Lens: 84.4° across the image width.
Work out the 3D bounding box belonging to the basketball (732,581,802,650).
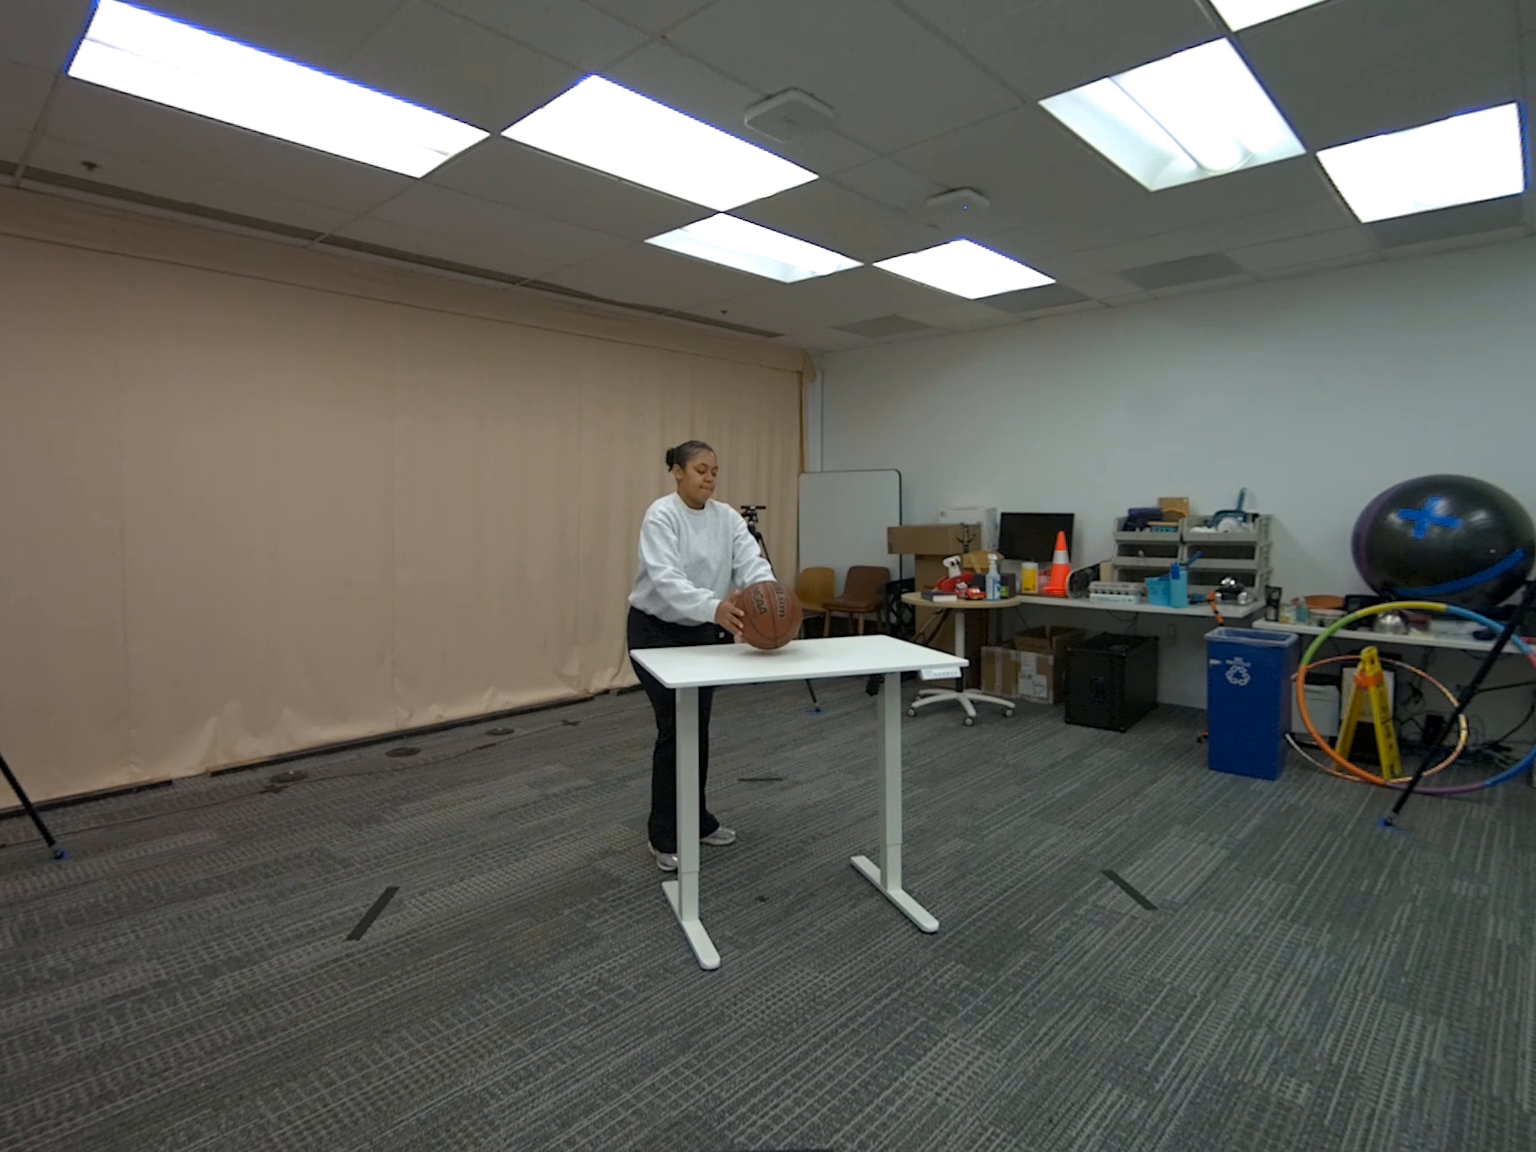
[{"bbox_3d":[-0.005,0.129,2.906,0.236,0.235,0.237,0,4,-2],"label":"basketball"}]
